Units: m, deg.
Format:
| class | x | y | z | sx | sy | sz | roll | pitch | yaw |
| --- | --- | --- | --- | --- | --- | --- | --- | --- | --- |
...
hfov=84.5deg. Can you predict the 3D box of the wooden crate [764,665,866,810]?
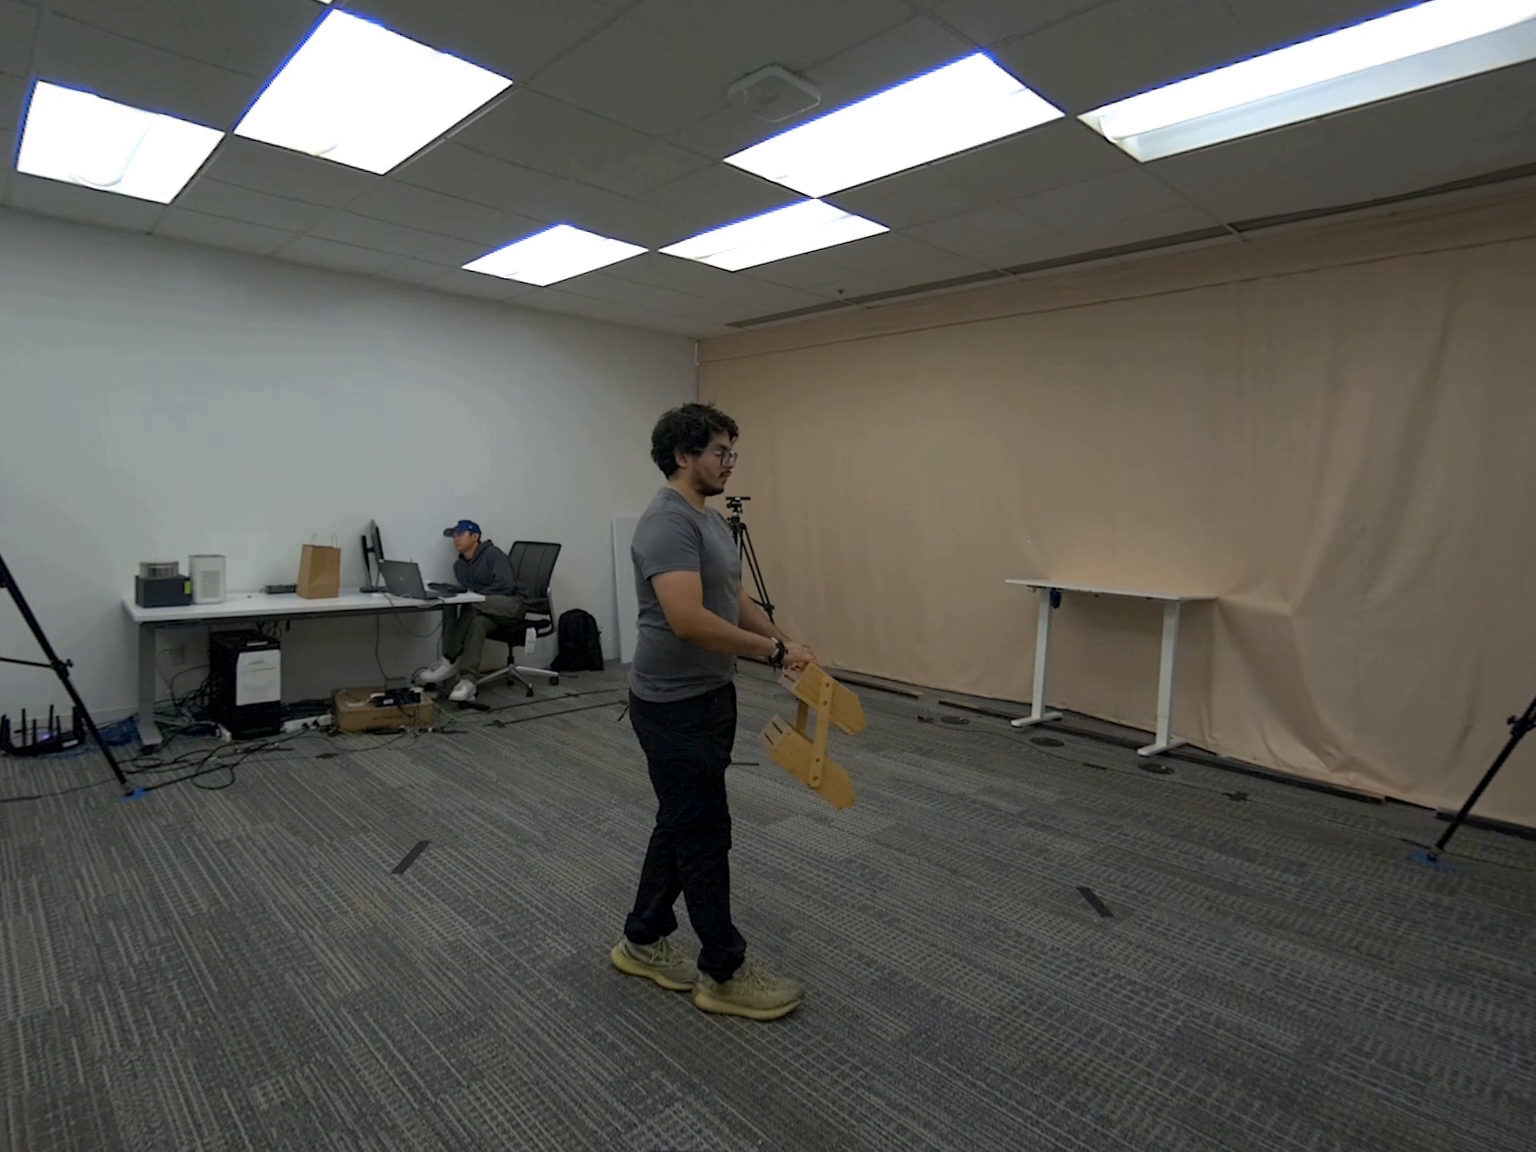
| class | x | y | z | sx | sy | sz | roll | pitch | yaw |
| --- | --- | --- | --- | --- | --- | --- | --- | --- | --- |
| wooden crate | 0.148 | 0.424 | 2.306 | 0.301 | 0.273 | 0.325 | 36 | -5 | -3 |
